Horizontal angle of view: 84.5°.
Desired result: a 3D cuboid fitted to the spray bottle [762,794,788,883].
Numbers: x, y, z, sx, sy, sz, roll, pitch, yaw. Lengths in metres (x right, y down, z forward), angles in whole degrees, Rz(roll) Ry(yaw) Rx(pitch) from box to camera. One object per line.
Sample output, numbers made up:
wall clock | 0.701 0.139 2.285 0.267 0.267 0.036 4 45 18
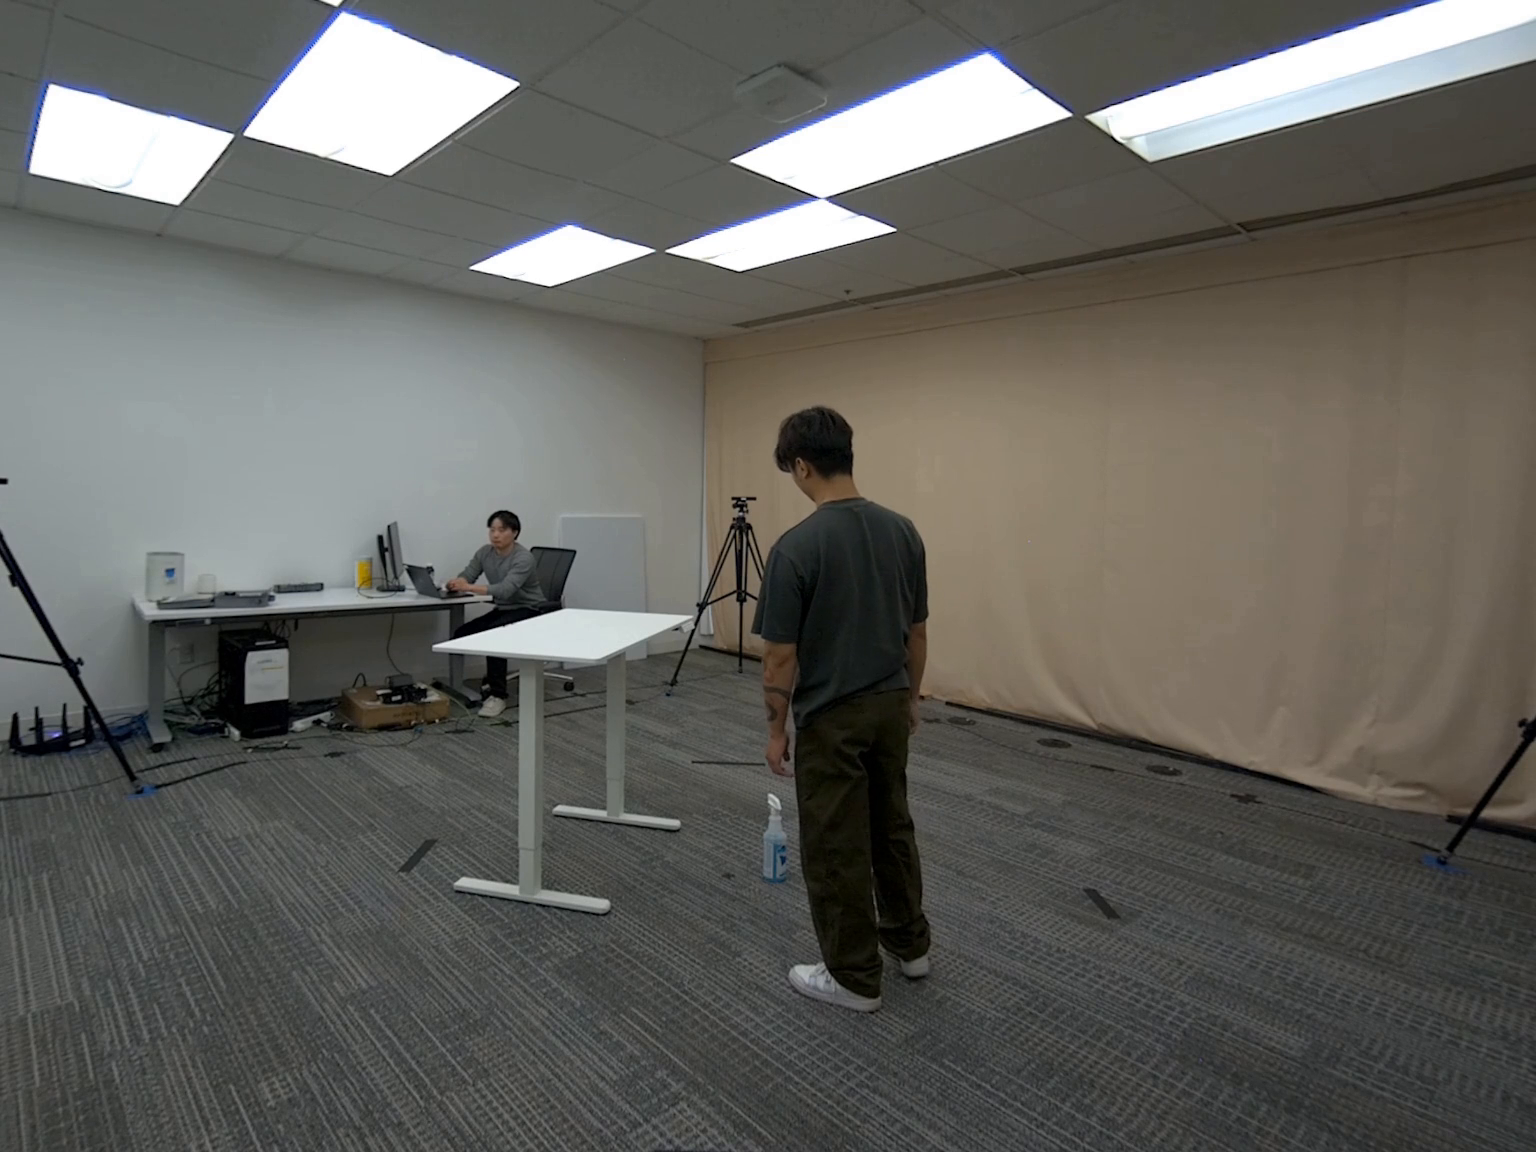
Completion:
spray bottle | 0.020 0.967 3.095 0.087 0.297 0.090 0 2 1
